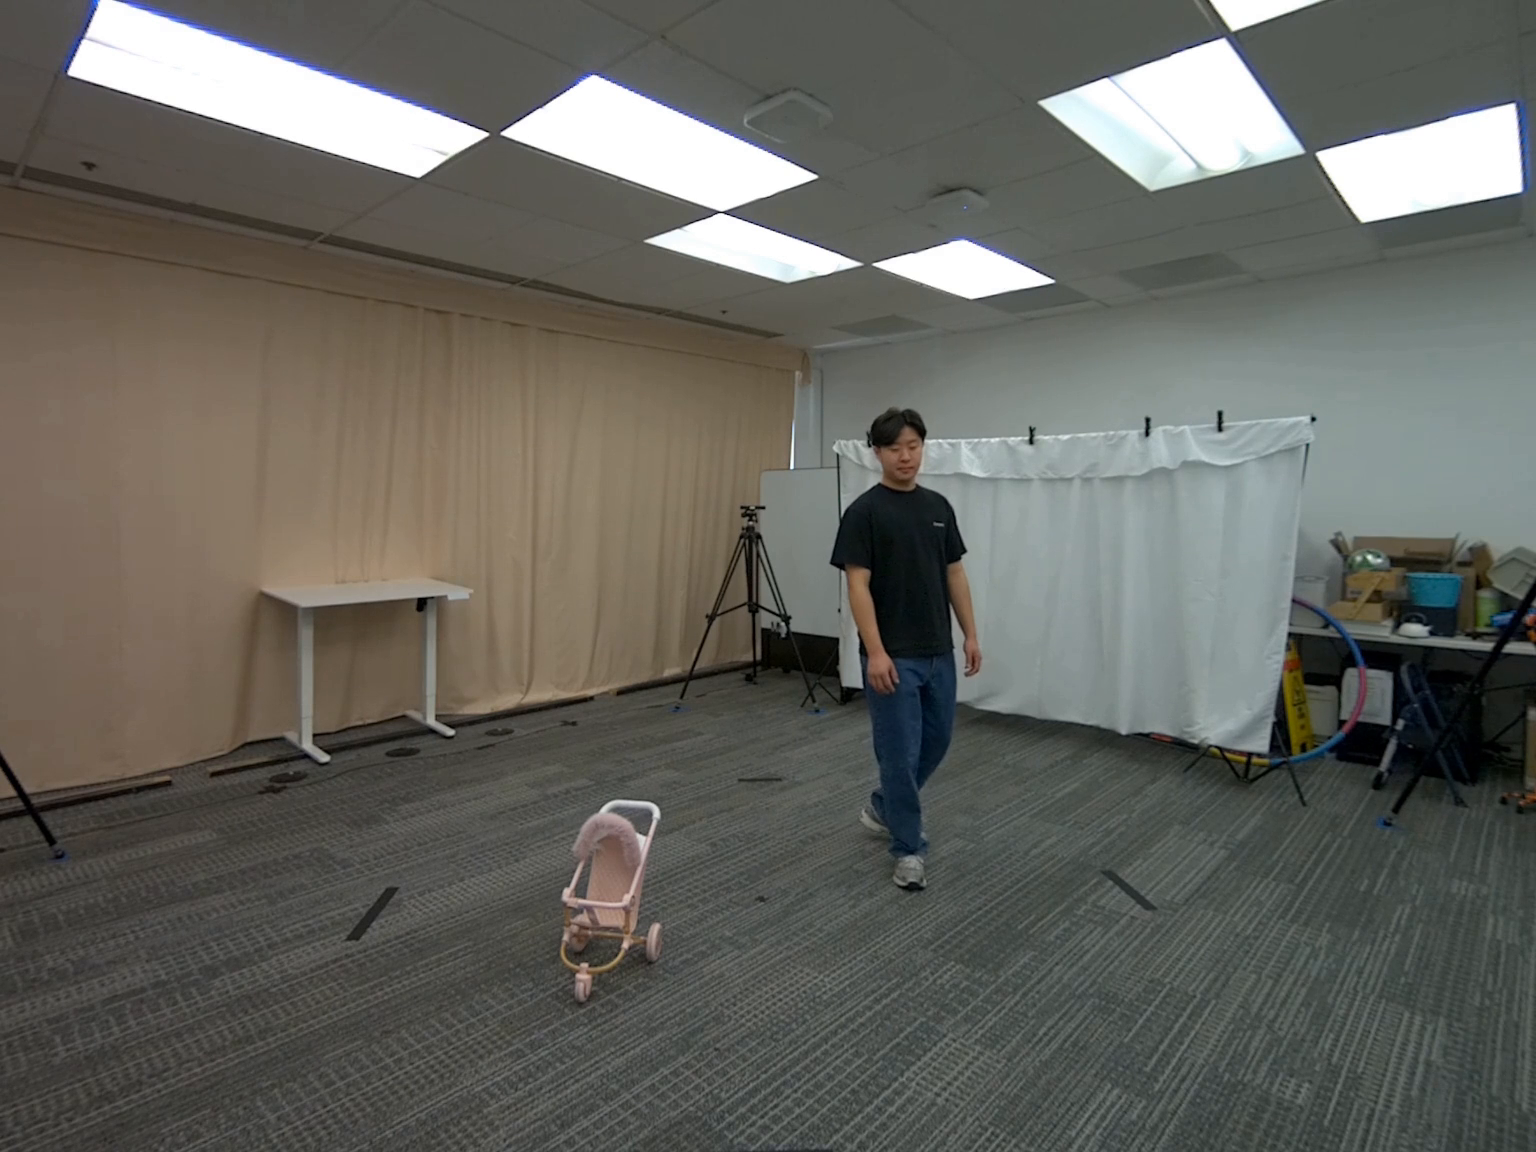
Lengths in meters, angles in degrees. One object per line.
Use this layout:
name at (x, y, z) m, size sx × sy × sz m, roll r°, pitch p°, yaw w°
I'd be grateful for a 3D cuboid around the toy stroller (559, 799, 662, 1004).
toy stroller at (-0.487, 0.962, 2.542) m, size 0.287 × 0.539 × 0.332 m, roll 0°, pitch -13°, yaw 17°
